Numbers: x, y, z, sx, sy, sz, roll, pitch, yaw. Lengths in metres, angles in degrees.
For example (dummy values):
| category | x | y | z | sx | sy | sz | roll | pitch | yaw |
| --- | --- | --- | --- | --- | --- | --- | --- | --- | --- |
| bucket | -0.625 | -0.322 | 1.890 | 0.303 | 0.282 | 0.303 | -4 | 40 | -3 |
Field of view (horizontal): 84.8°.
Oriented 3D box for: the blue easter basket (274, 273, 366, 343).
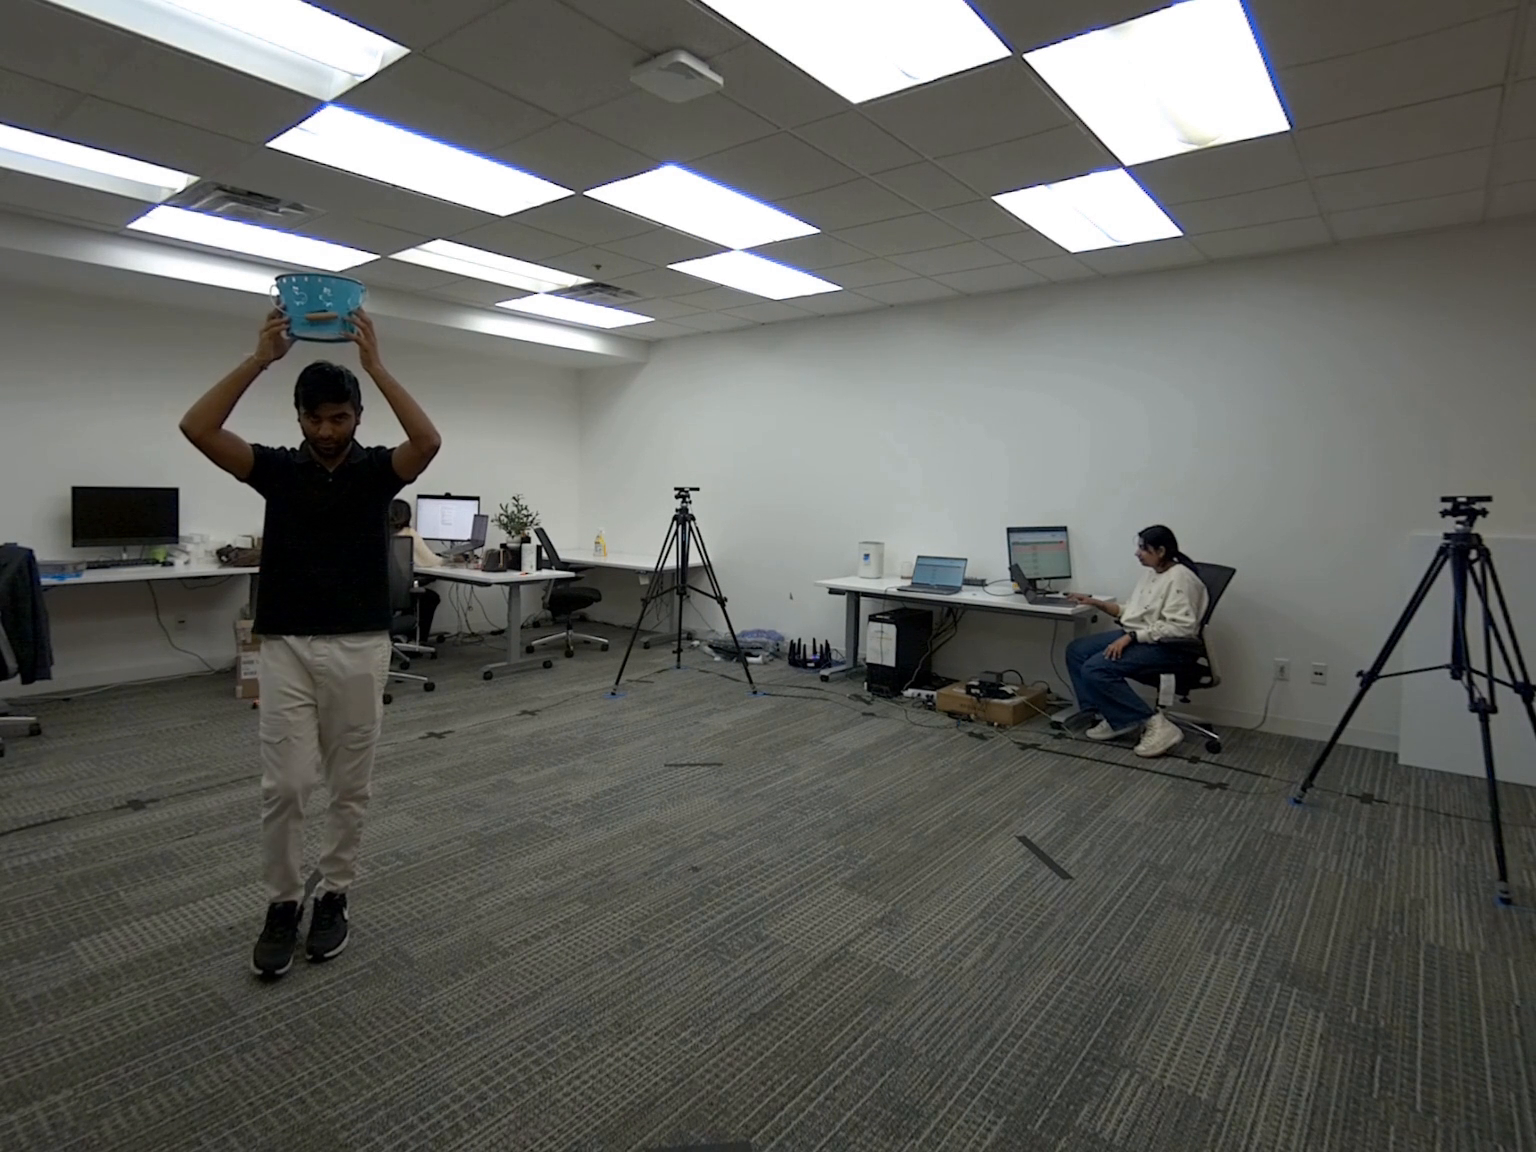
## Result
| category | x | y | z | sx | sy | sz | roll | pitch | yaw |
| --- | --- | --- | --- | --- | --- | --- | --- | --- | --- |
| blue easter basket | -1.273 | -0.753 | 2.379 | 0.243 | 0.155 | 0.245 | -2 | 5 | -2 |
